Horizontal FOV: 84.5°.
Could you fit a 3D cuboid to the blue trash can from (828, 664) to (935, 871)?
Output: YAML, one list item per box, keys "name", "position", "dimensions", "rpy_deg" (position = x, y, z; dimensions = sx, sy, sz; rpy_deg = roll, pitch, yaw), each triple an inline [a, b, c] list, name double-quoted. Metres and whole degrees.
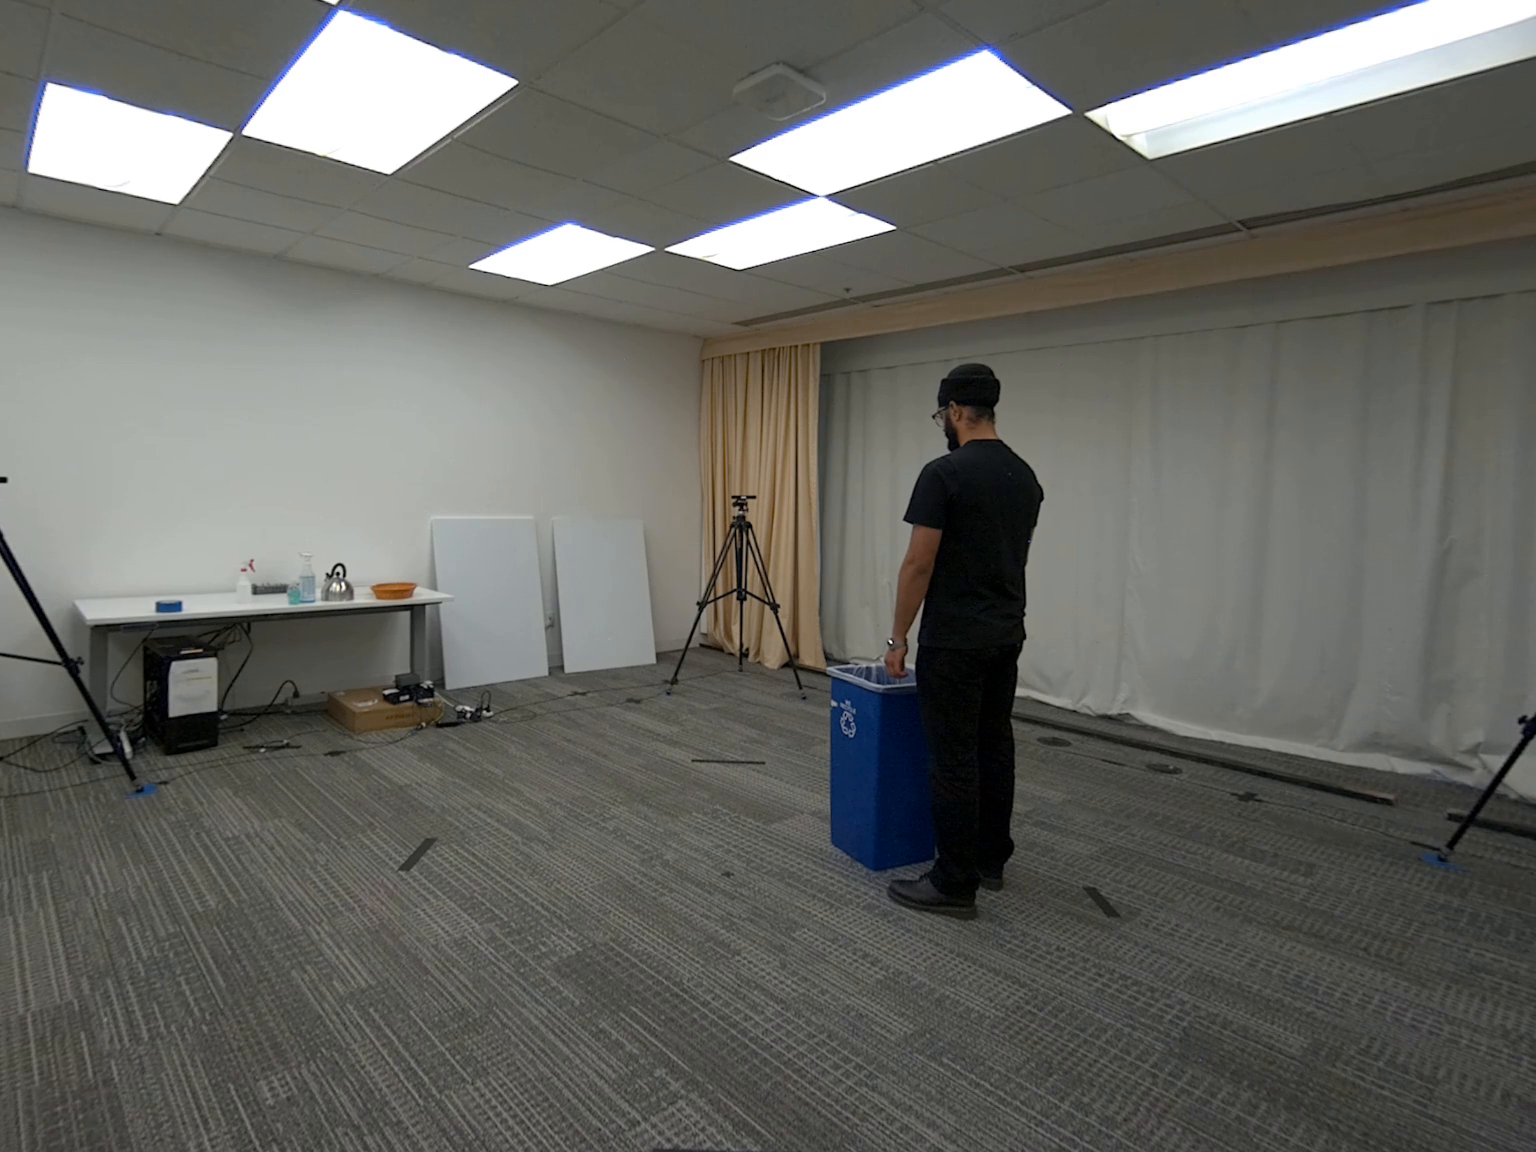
- name: "blue trash can"
  position: [0.464, 0.737, 3.327]
  dimensions: [0.371, 0.712, 0.382]
  rpy_deg: [0, 4, -29]
